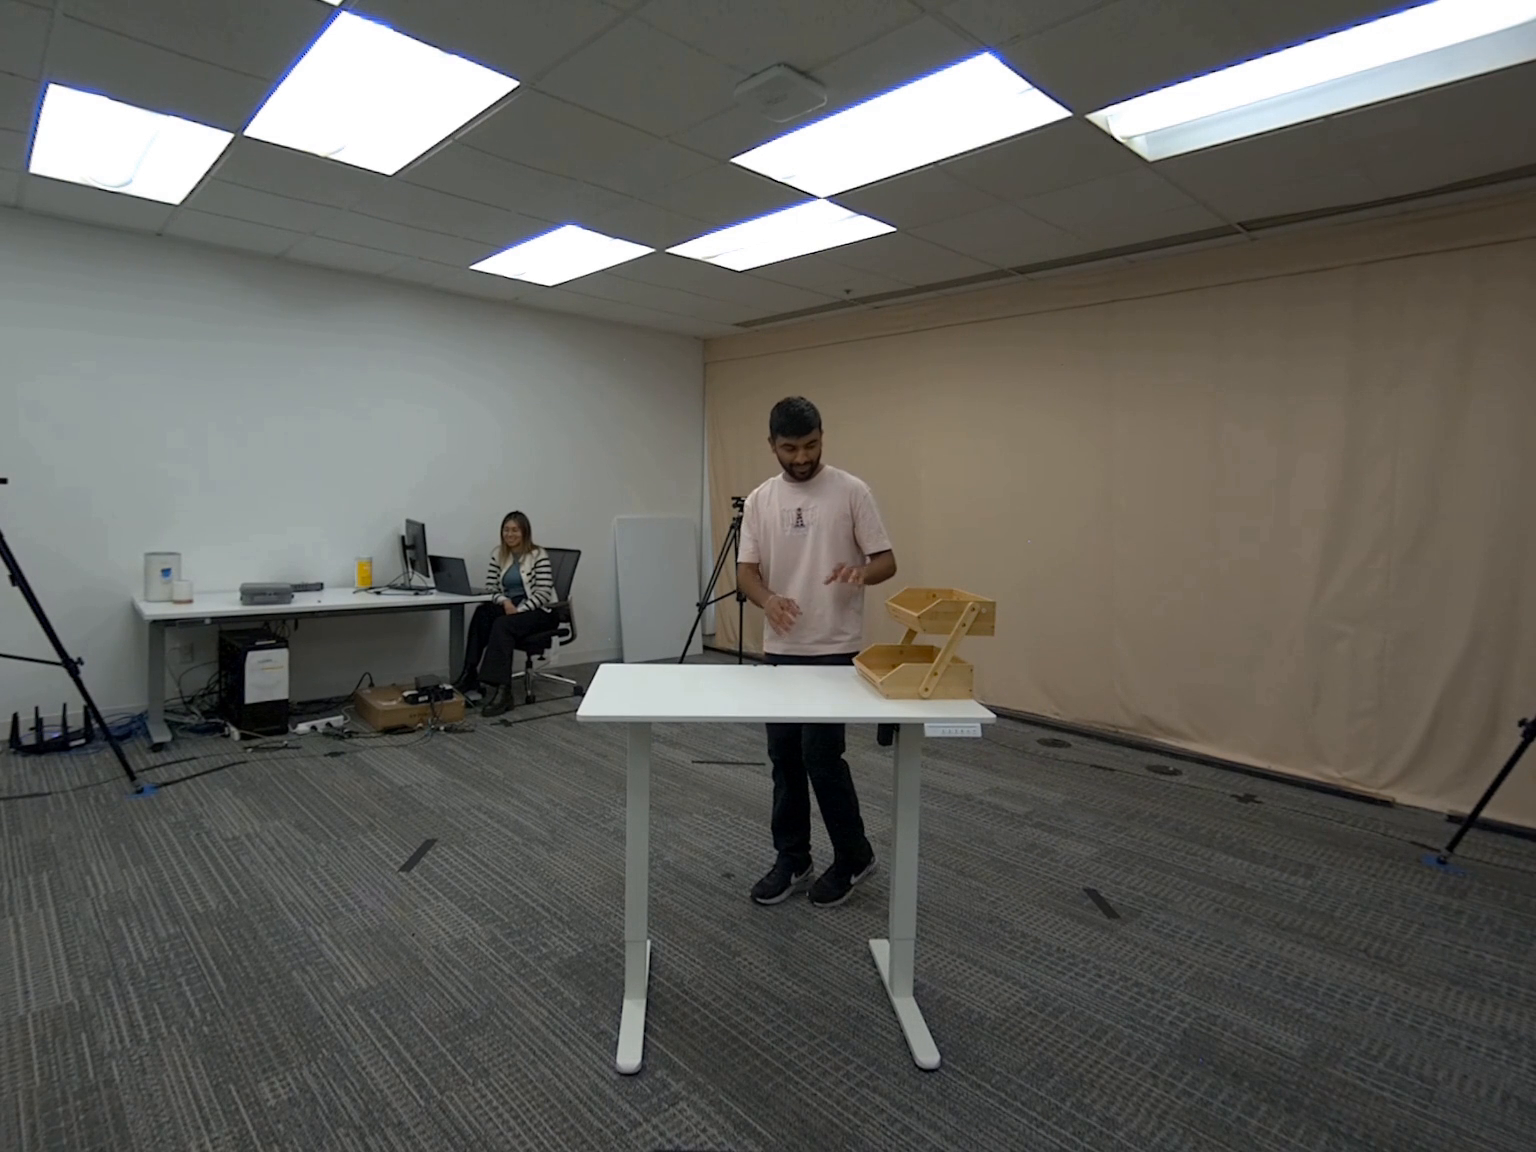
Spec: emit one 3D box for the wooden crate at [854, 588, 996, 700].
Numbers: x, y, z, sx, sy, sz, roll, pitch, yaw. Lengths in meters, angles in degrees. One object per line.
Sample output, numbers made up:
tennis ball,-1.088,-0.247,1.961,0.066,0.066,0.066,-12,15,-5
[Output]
wooden crate,0.405,0.177,2.325,0.300,0.272,0.327,2,6,-7
